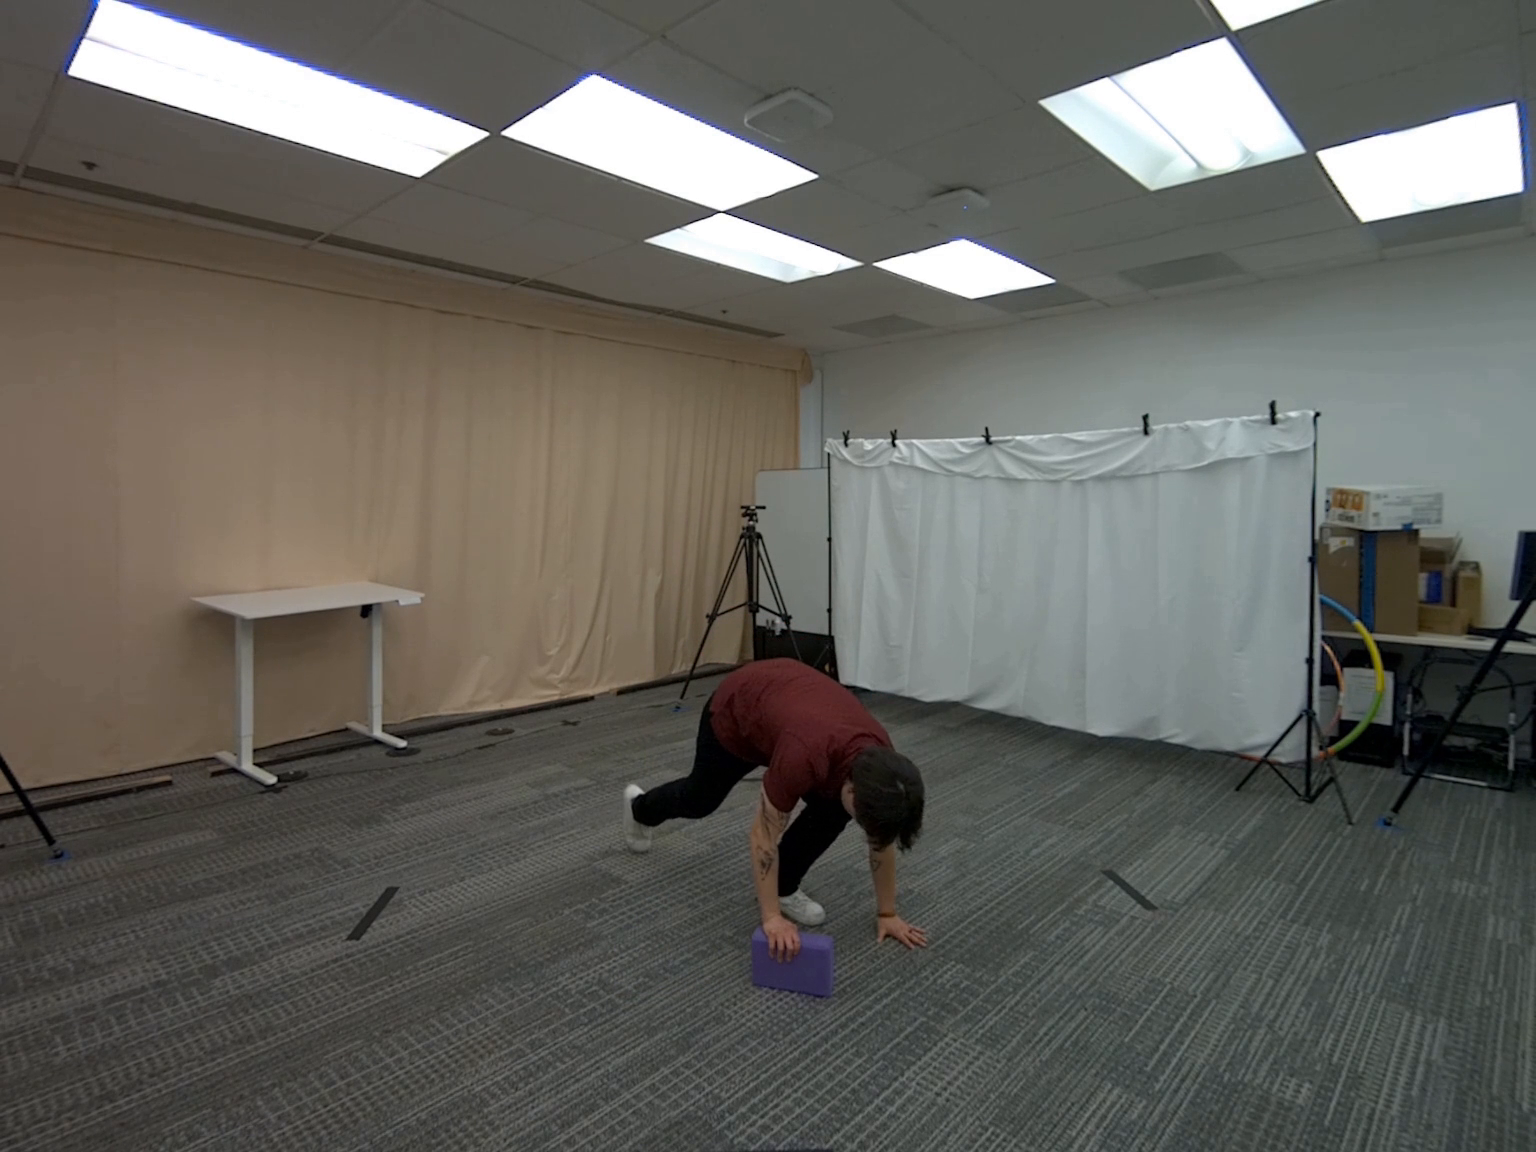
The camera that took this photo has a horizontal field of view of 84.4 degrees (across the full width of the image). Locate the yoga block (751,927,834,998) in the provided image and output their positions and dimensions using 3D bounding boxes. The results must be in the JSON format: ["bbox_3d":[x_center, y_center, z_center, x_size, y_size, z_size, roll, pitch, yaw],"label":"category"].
[{"bbox_3d":[0.076,1.112,2.446,0.233,0.149,0.075,0,3,17],"label":"yoga block"}]
